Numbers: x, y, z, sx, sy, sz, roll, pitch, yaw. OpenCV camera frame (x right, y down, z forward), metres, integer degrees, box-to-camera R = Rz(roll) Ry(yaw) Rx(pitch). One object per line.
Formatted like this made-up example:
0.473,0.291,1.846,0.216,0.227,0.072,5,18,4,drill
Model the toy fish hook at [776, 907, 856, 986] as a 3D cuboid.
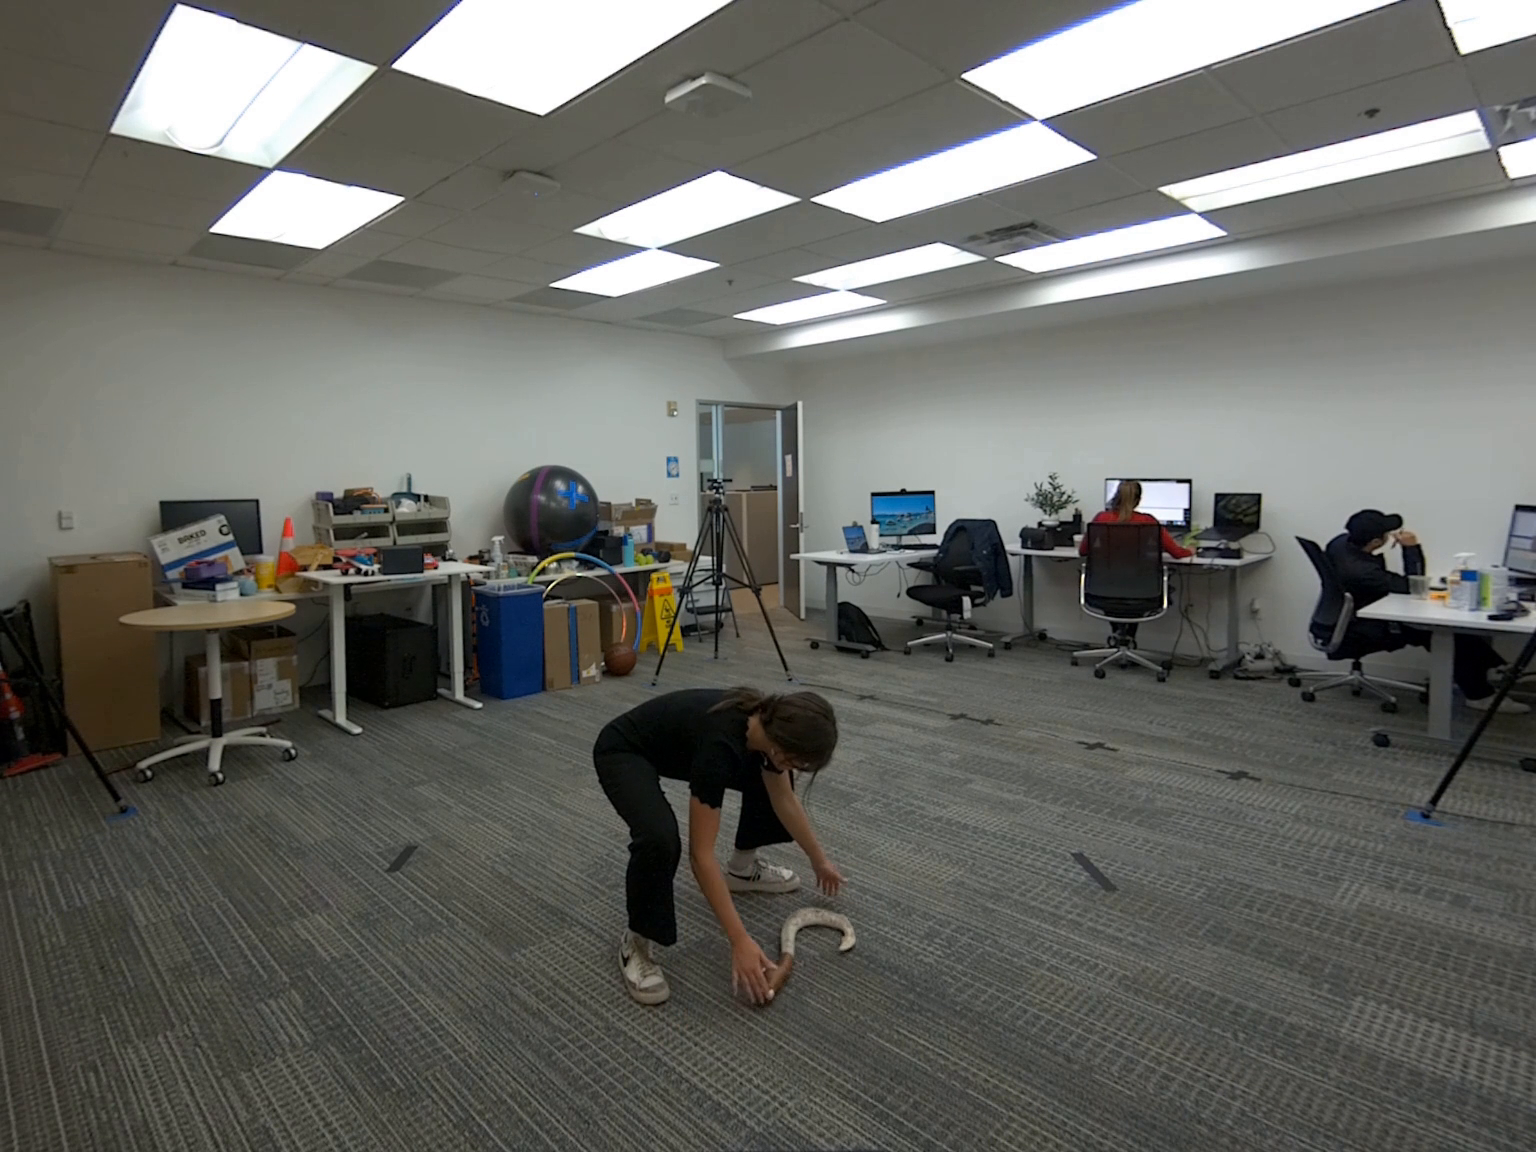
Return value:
0.118,1.096,2.476,0.229,0.048,0.500,-2,7,19,toy fish hook
